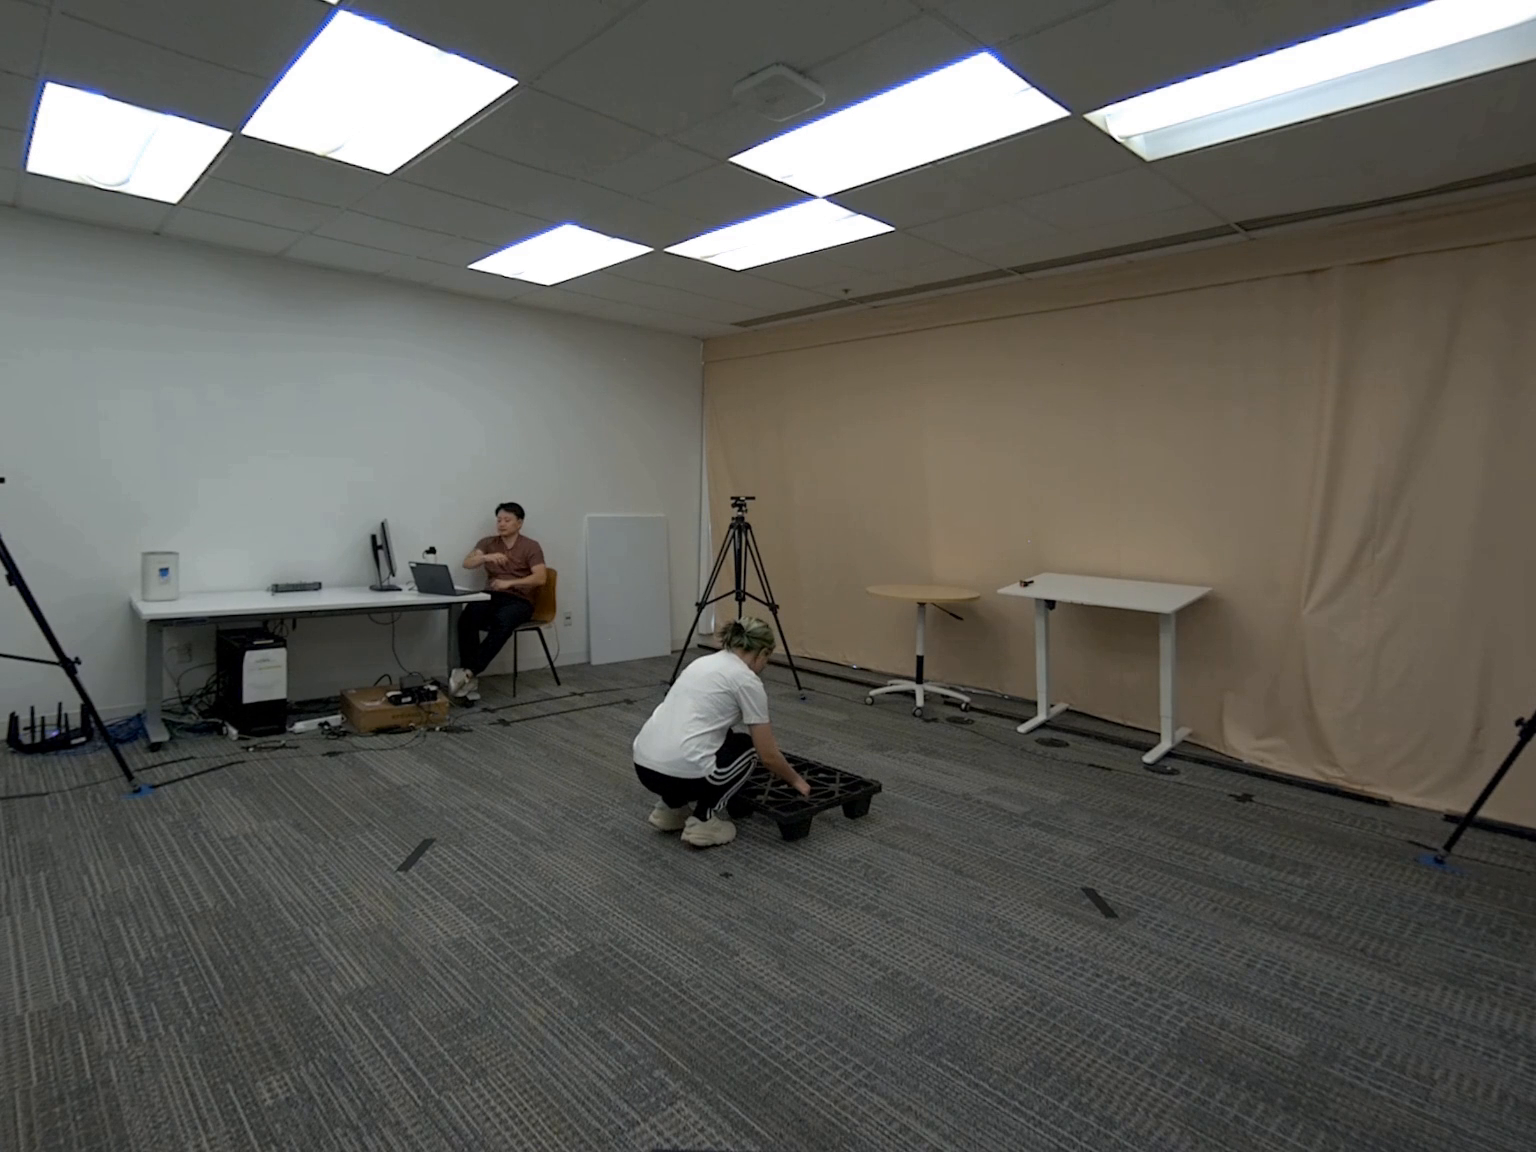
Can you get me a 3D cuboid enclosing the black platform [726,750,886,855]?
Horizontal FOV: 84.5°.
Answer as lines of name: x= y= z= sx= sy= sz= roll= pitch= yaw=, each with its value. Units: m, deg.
black platform: x=0.015 y=0.968 z=3.798 sx=0.592 sy=0.143 sz=0.825 roll=-6 pitch=7 yaw=-41
